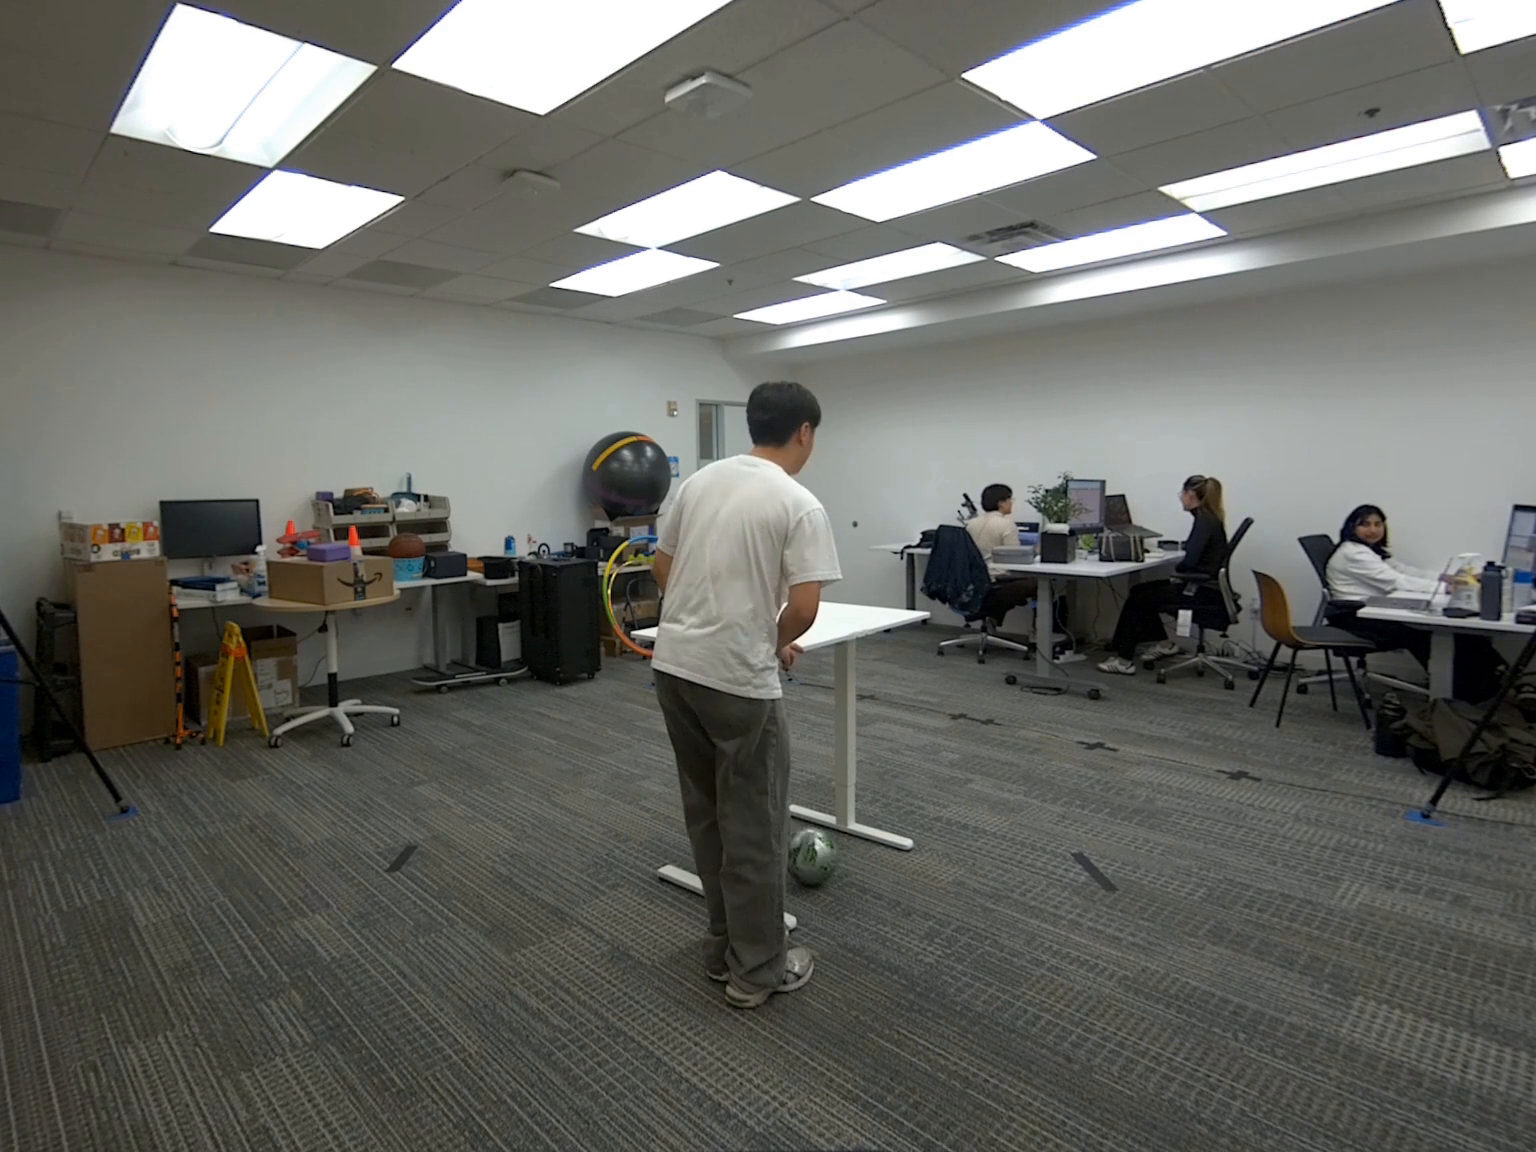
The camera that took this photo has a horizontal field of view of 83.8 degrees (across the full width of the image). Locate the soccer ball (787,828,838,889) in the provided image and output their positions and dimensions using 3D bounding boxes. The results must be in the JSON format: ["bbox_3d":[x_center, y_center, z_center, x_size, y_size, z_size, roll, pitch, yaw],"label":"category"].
[{"bbox_3d":[0.150,0.968,2.948,0.187,0.187,0.188,-1,5,-2],"label":"soccer ball"}]
